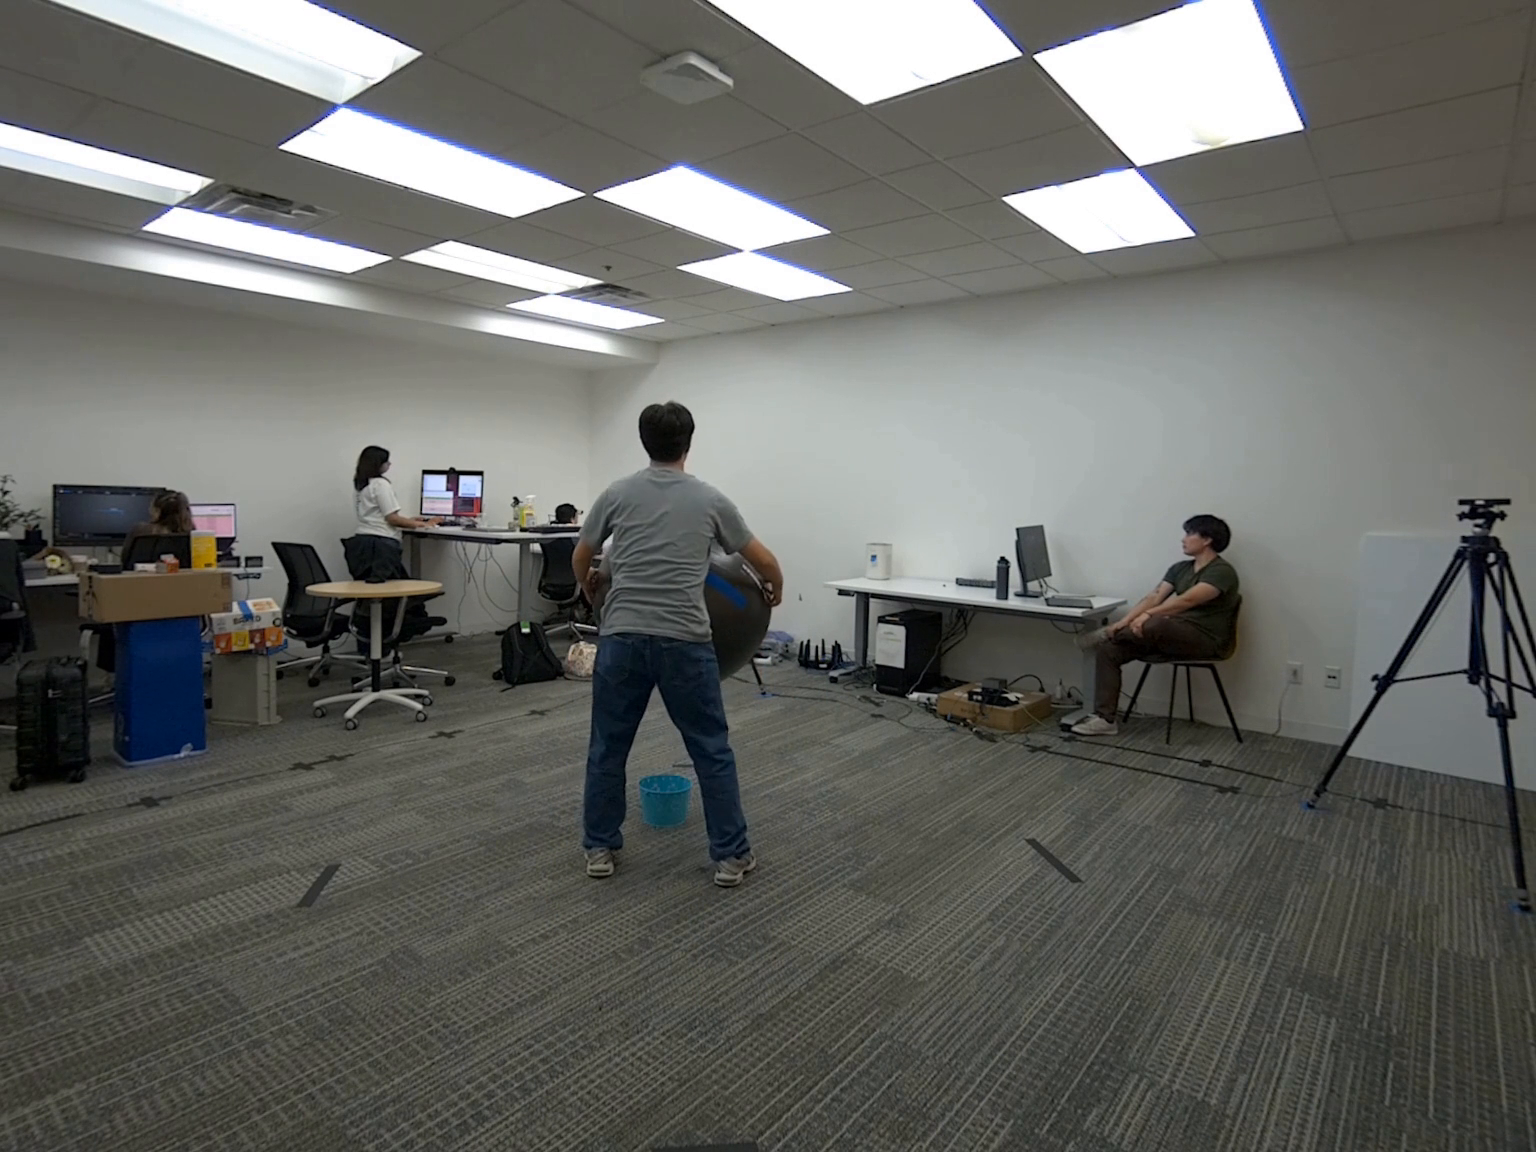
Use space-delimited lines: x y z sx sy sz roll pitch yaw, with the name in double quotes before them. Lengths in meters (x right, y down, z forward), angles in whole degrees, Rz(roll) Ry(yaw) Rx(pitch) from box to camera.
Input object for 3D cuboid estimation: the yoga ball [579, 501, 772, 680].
"yoga ball" -0.375 0.105 3.607 0.757 0.756 0.761 1 4 -2
